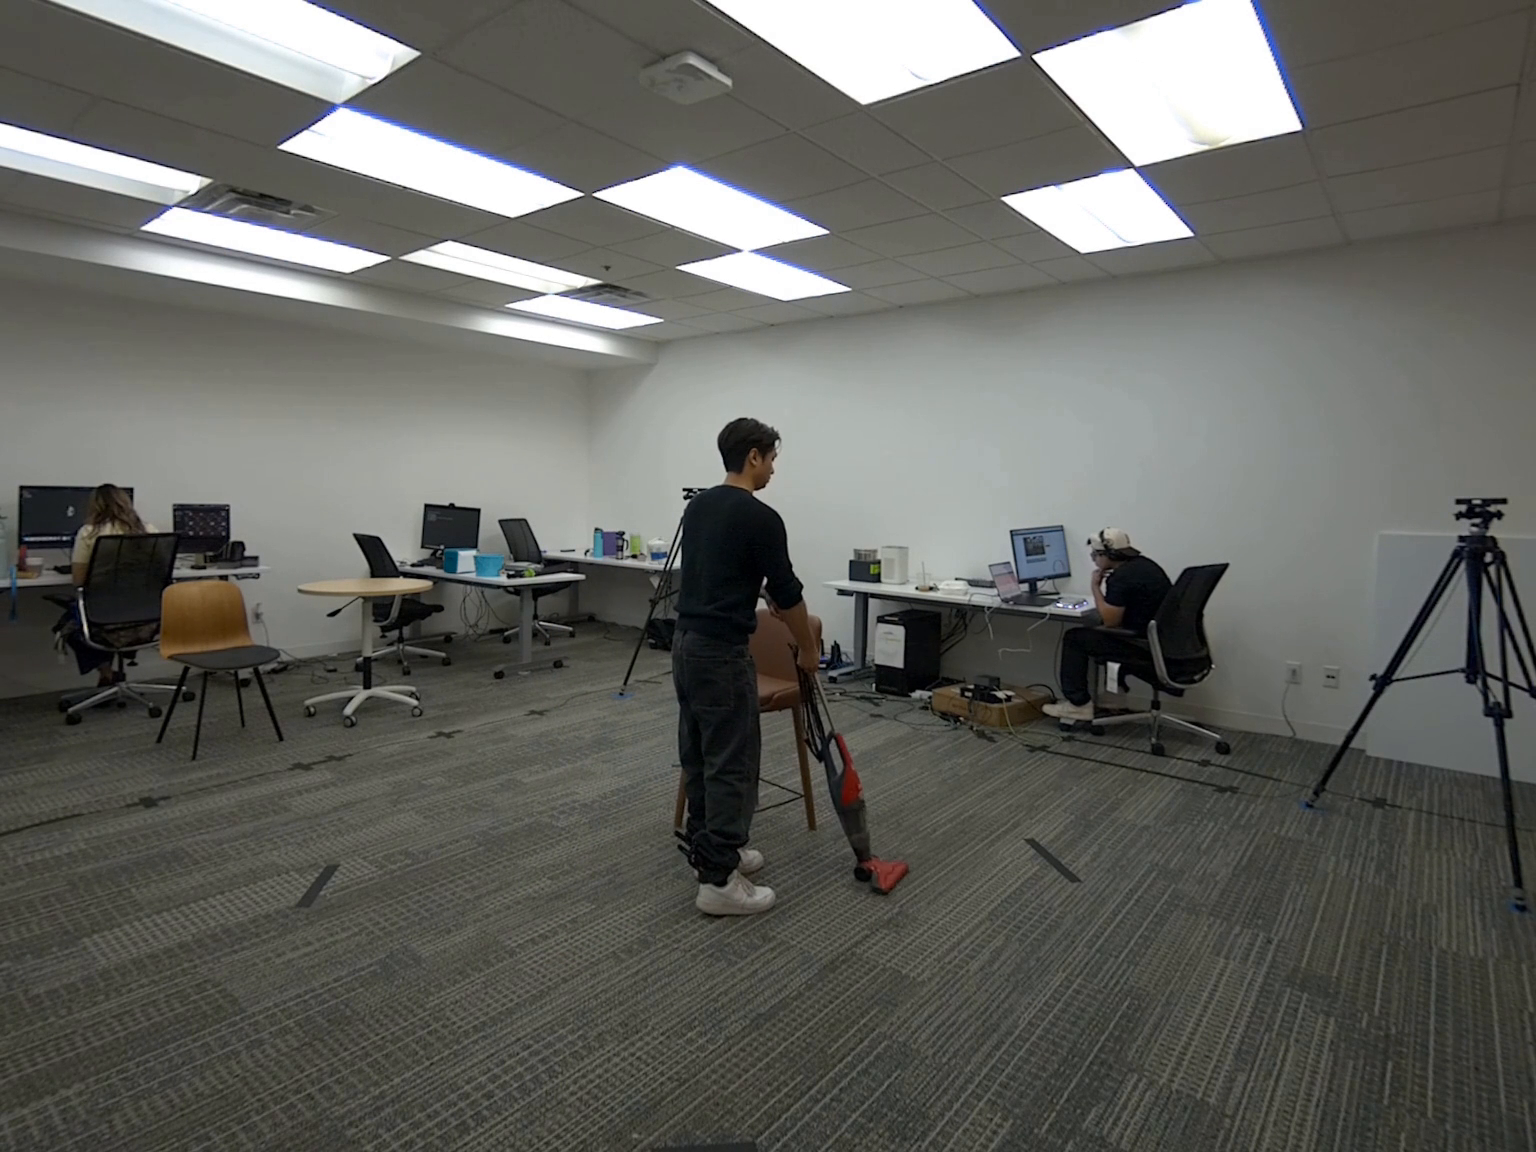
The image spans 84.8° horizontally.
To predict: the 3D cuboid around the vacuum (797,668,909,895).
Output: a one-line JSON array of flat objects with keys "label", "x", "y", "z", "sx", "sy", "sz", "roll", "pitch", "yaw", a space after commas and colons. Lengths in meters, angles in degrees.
[{"label": "vacuum", "x": 0.221, "y": 0.603, "z": 3.166, "sx": 0.146, "sy": 1.063, "sz": 0.246, "roll": -24, "pitch": -11, "yaw": 22}]
